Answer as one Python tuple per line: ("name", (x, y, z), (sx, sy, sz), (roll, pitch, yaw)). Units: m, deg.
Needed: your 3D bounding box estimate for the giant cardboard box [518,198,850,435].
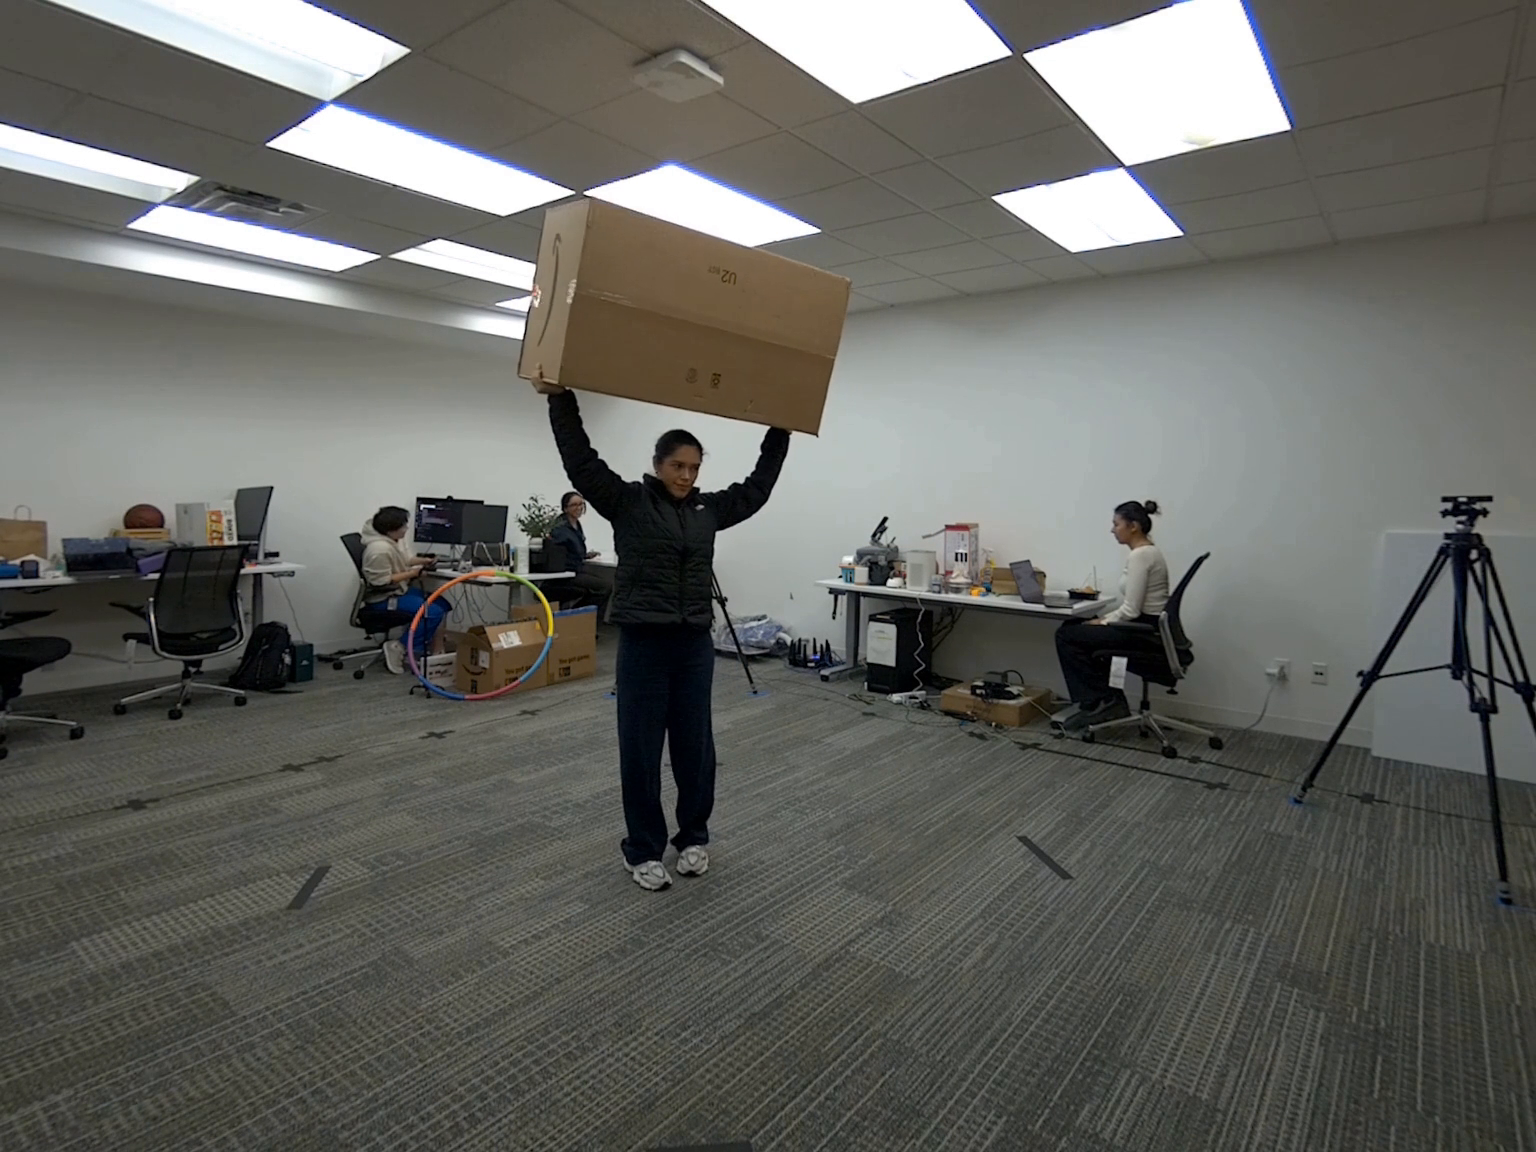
("giant cardboard box", (-0.271, -0.879, 3.021), (0.995, 0.580, 0.464), (5, 11, -33))
